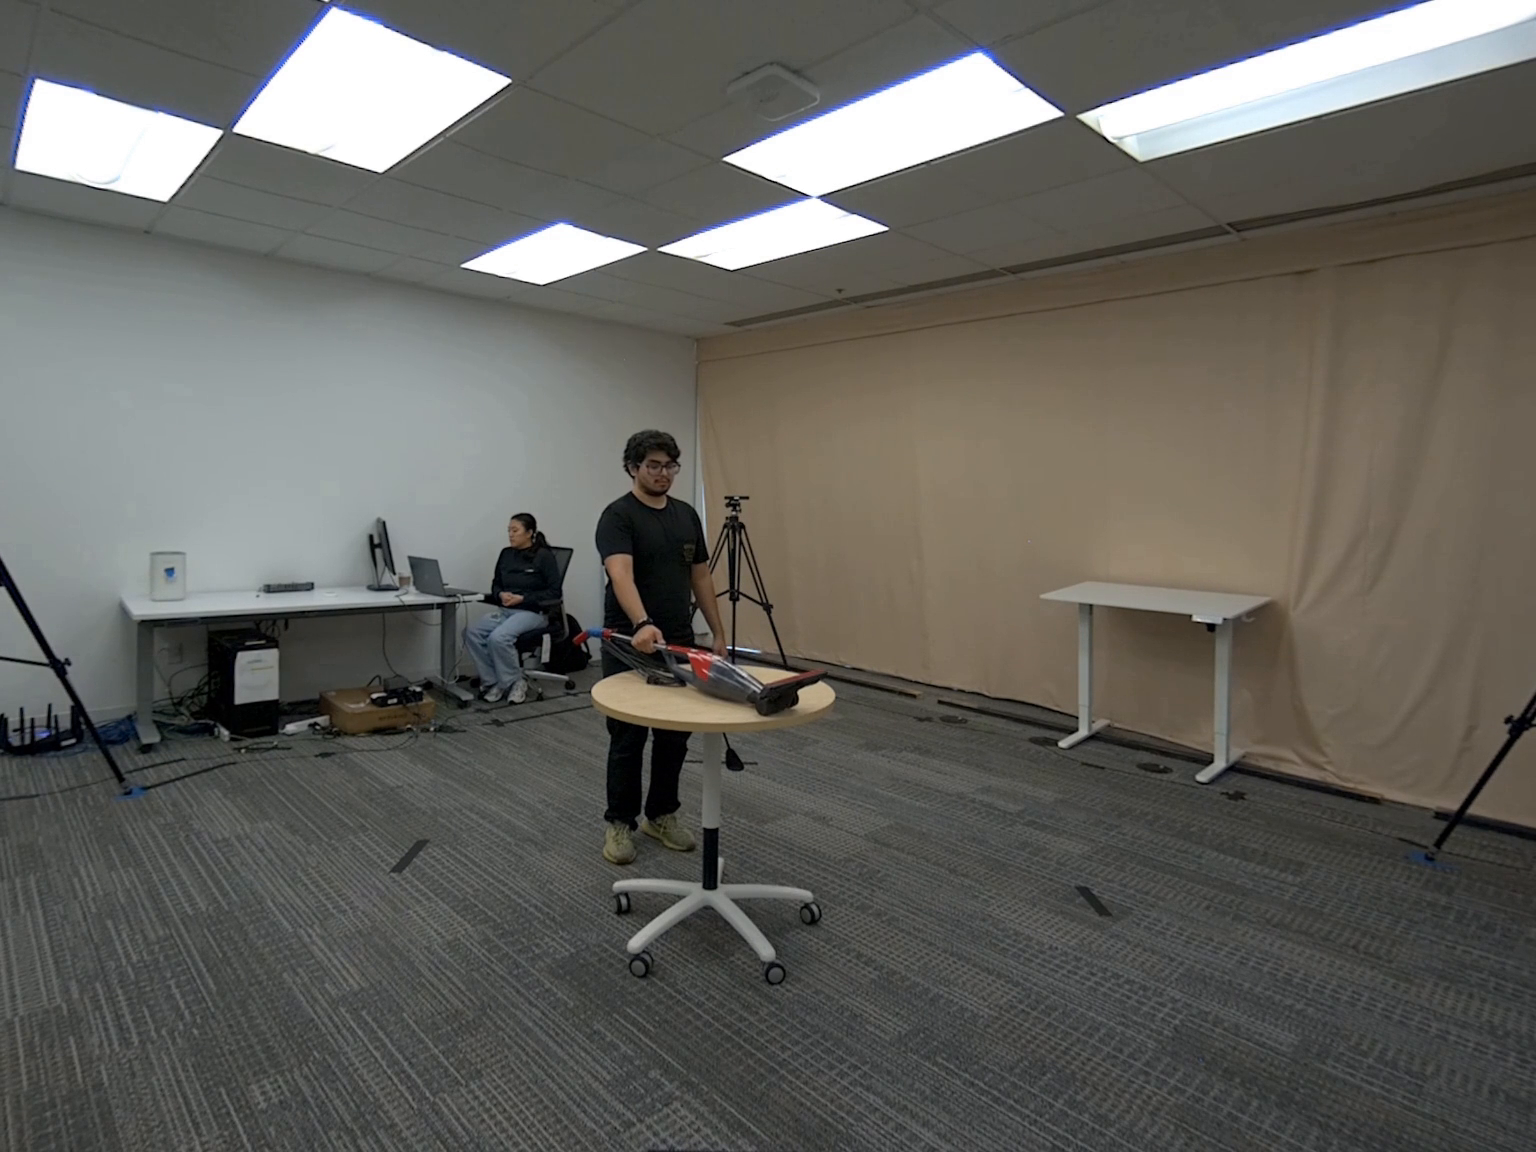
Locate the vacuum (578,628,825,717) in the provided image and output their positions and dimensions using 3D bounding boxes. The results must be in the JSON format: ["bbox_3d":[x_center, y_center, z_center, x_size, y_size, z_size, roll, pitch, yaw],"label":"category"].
[{"bbox_3d":[-0.326,0.299,2.721,0.247,0.143,1.077,-2,8,-44],"label":"vacuum"}]
